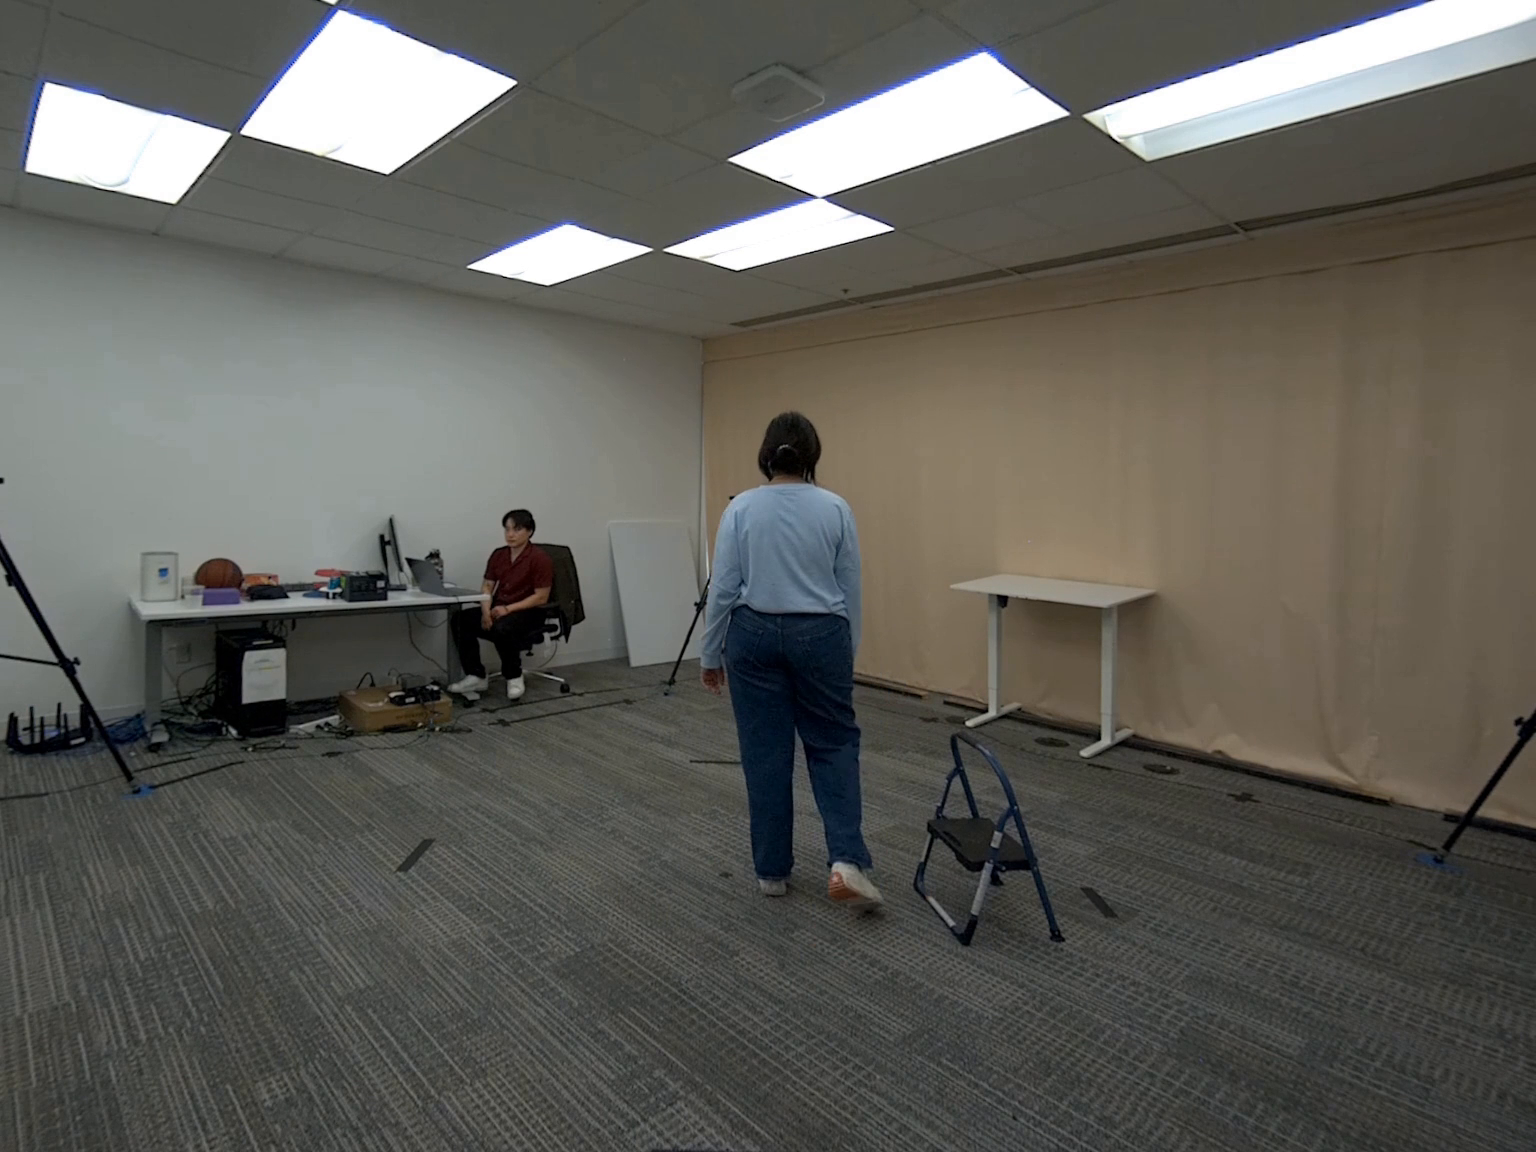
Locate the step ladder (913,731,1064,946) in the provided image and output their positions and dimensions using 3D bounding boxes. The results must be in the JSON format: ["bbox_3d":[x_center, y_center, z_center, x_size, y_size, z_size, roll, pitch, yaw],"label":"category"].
[{"bbox_3d":[0.737,0.848,2.854,0.346,0.604,0.436,1,4,-12],"label":"step ladder"}]
